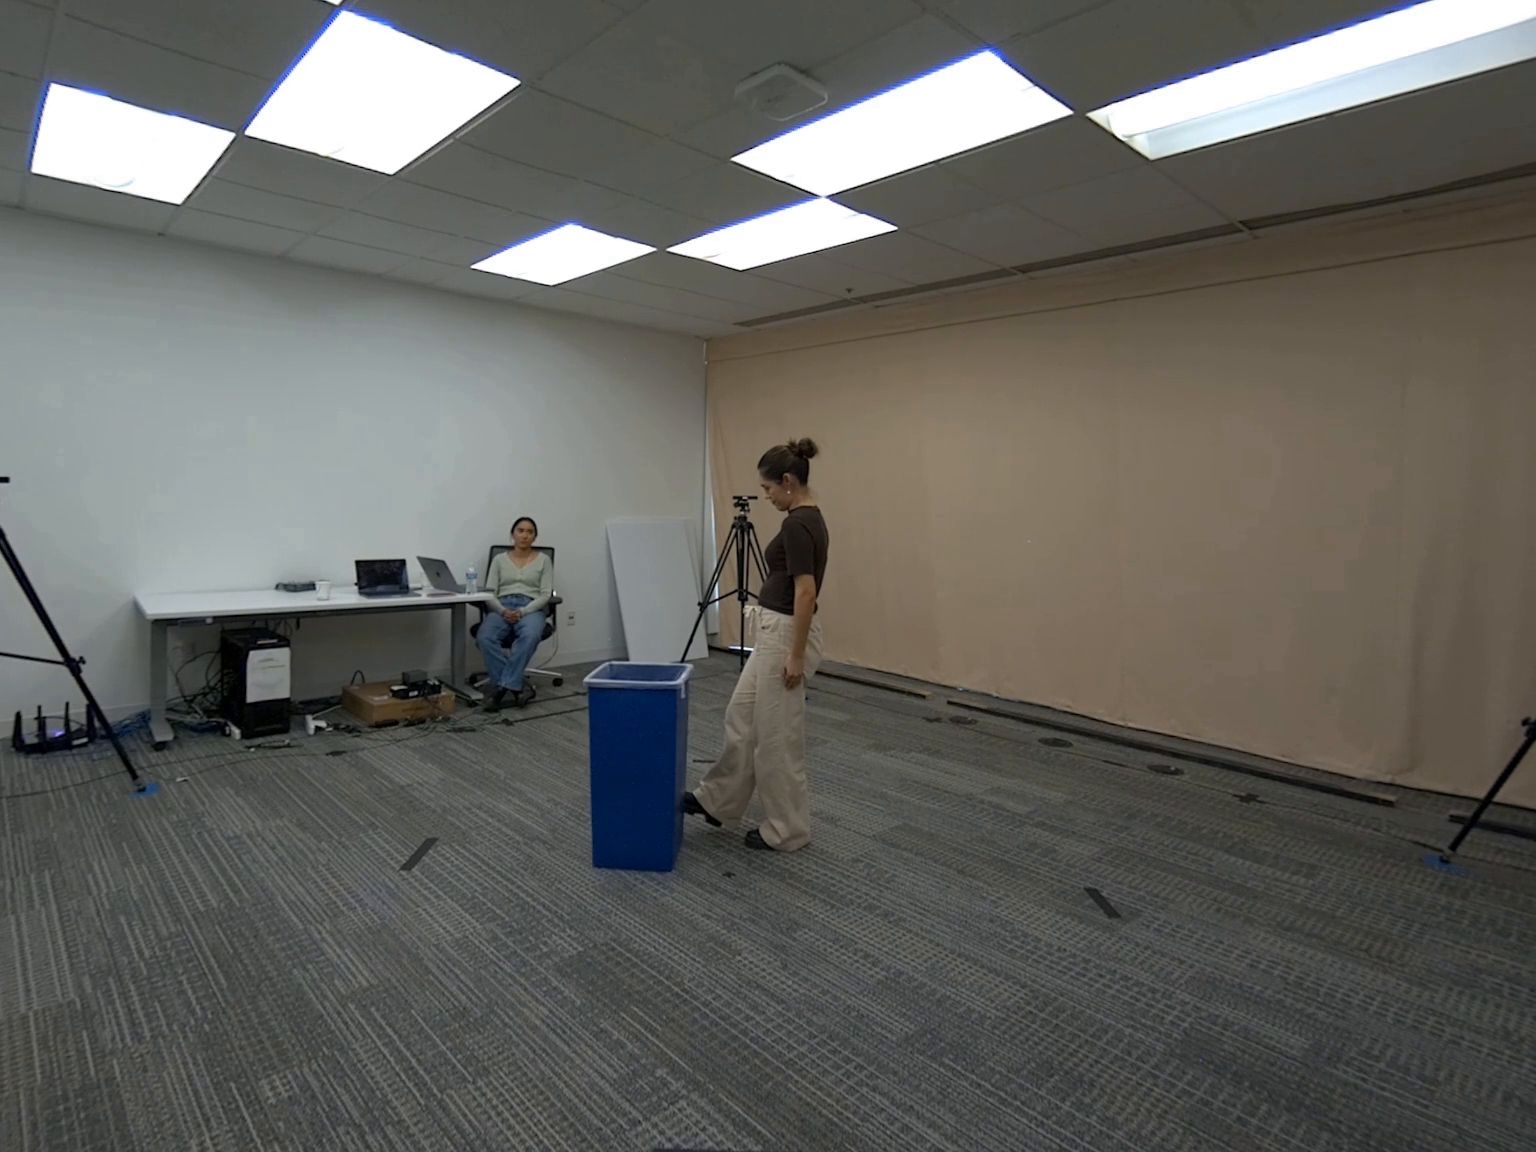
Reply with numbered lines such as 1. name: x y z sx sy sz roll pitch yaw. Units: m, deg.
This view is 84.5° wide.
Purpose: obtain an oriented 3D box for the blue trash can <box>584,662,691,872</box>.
1. blue trash can: -0.507 0.724 3.253 0.379 0.711 0.374 1 4 4
